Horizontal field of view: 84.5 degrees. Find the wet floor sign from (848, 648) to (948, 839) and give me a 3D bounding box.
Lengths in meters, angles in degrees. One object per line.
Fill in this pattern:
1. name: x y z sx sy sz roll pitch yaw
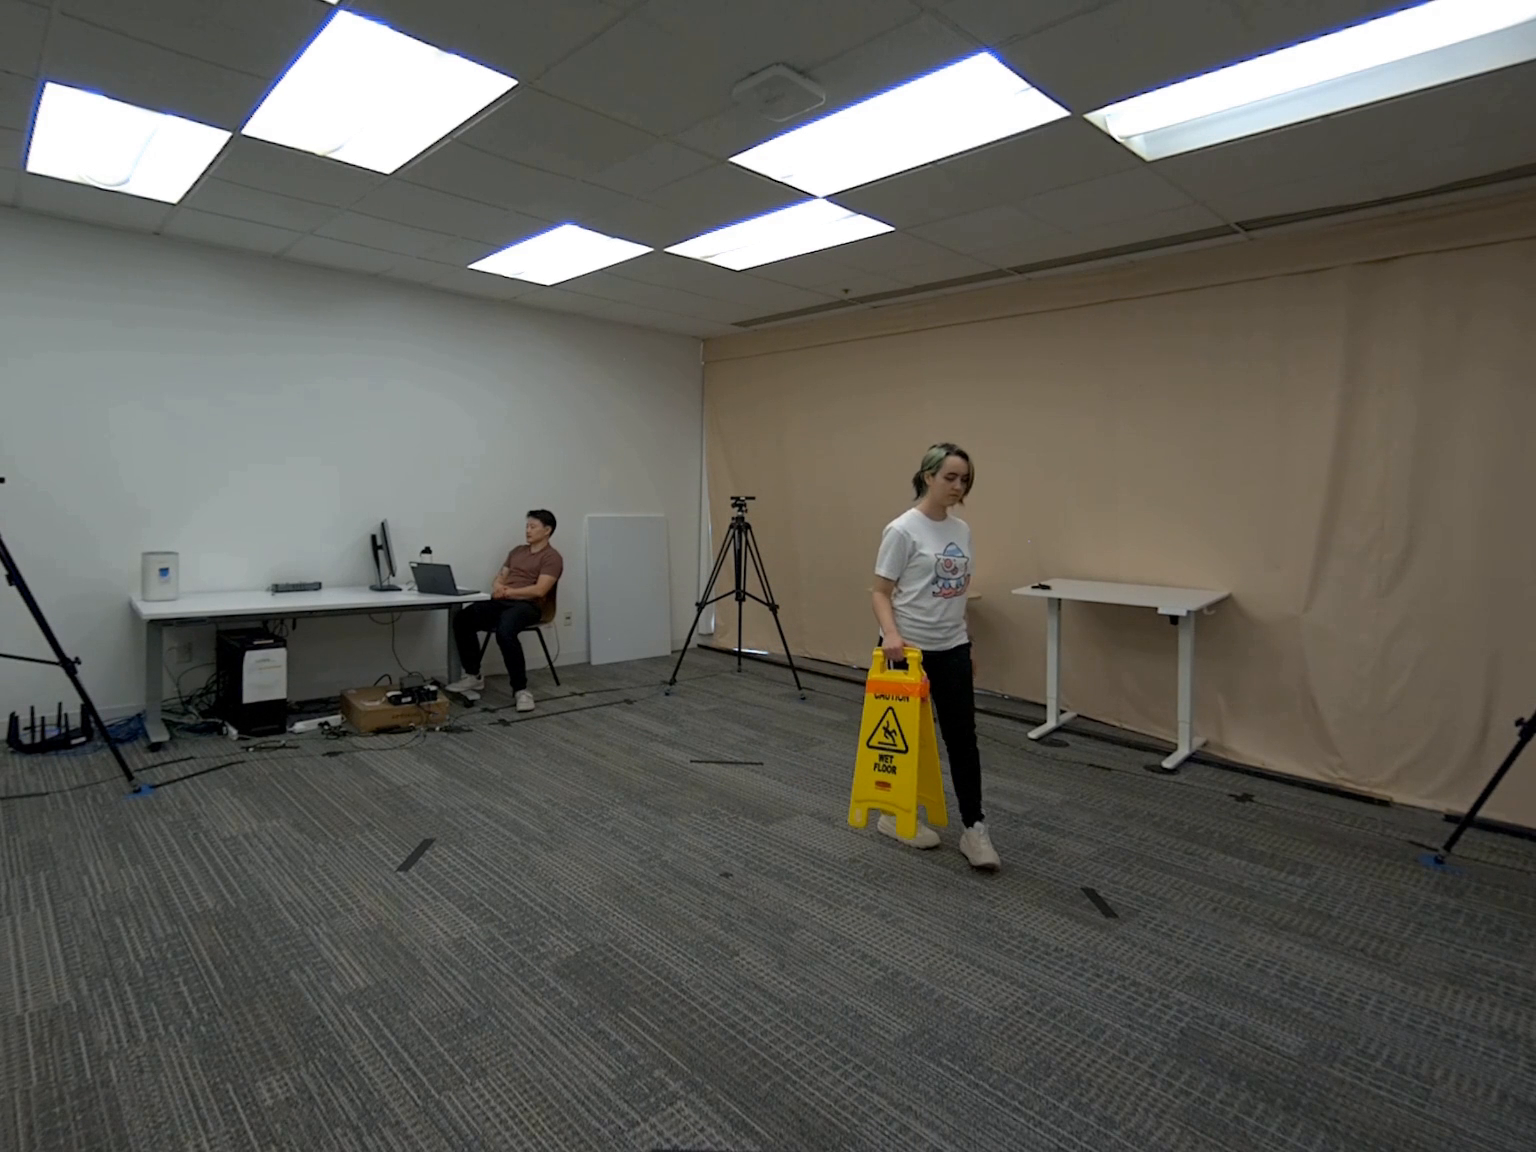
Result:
1. wet floor sign: 0.473 0.598 3.121 0.288 0.647 0.283 -3 -4 41
